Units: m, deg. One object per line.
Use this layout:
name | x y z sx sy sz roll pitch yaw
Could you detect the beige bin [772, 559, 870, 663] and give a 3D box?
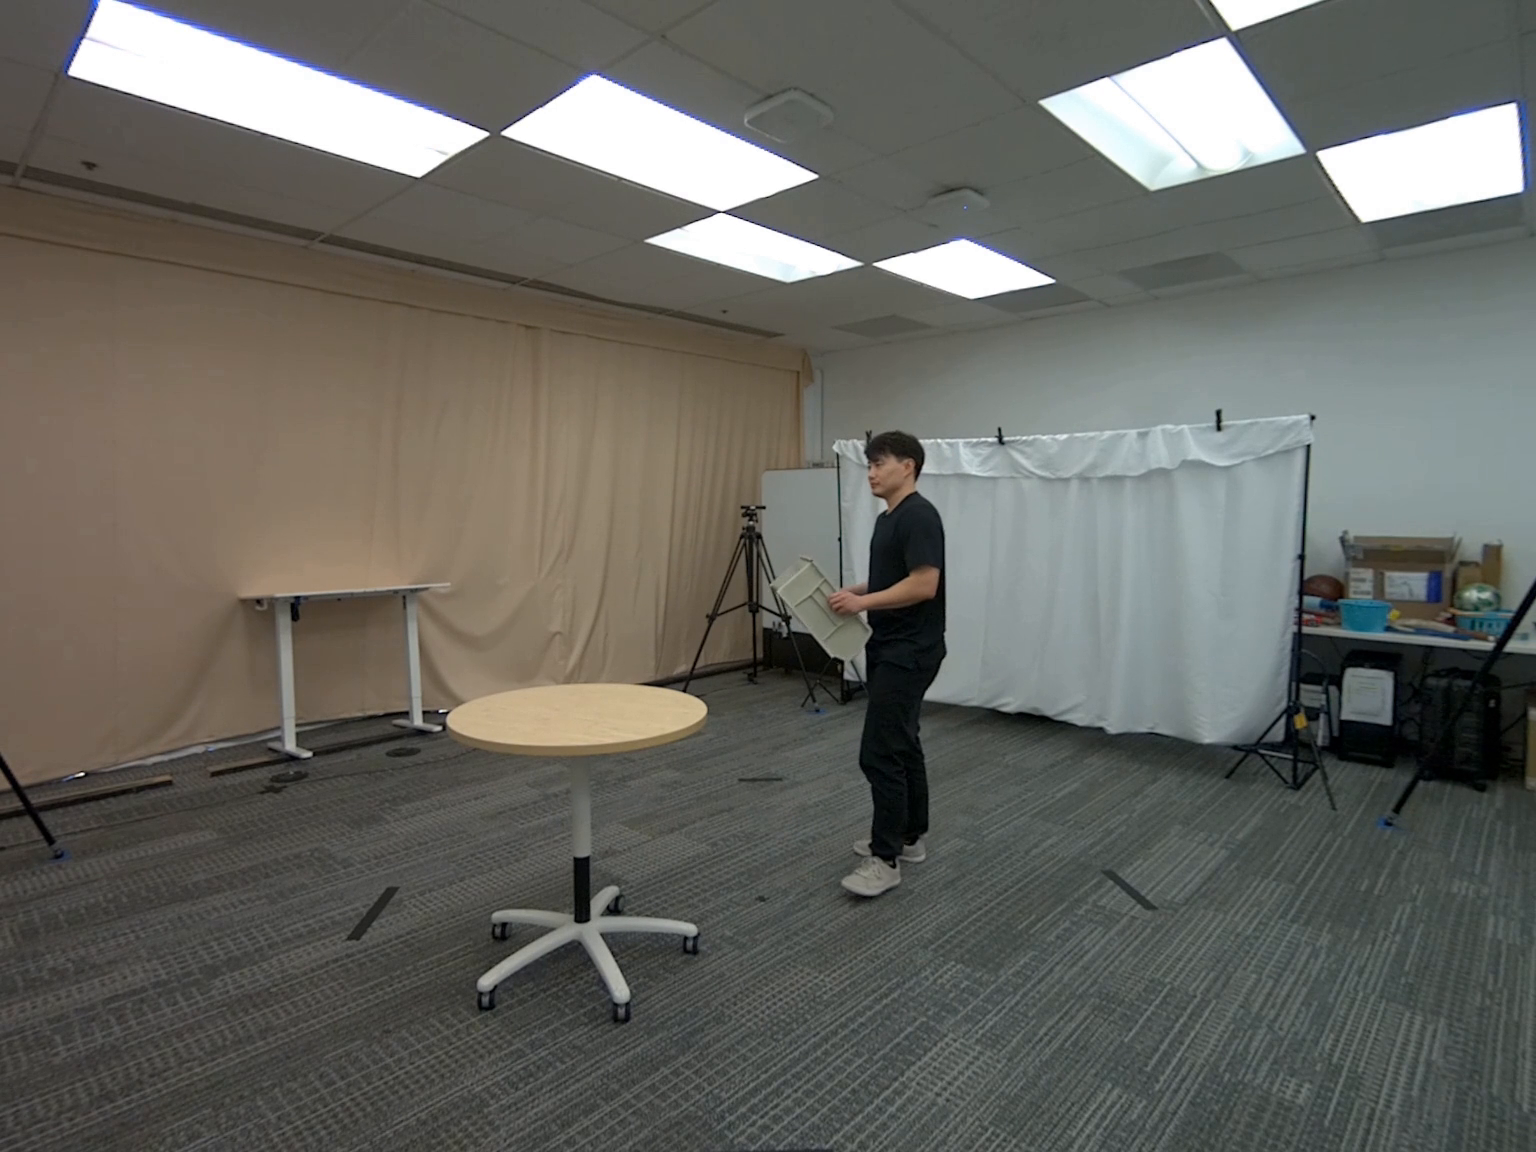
beige bin | 0.204 0.133 3.258 0.189 0.376 0.424 -40 3 0
